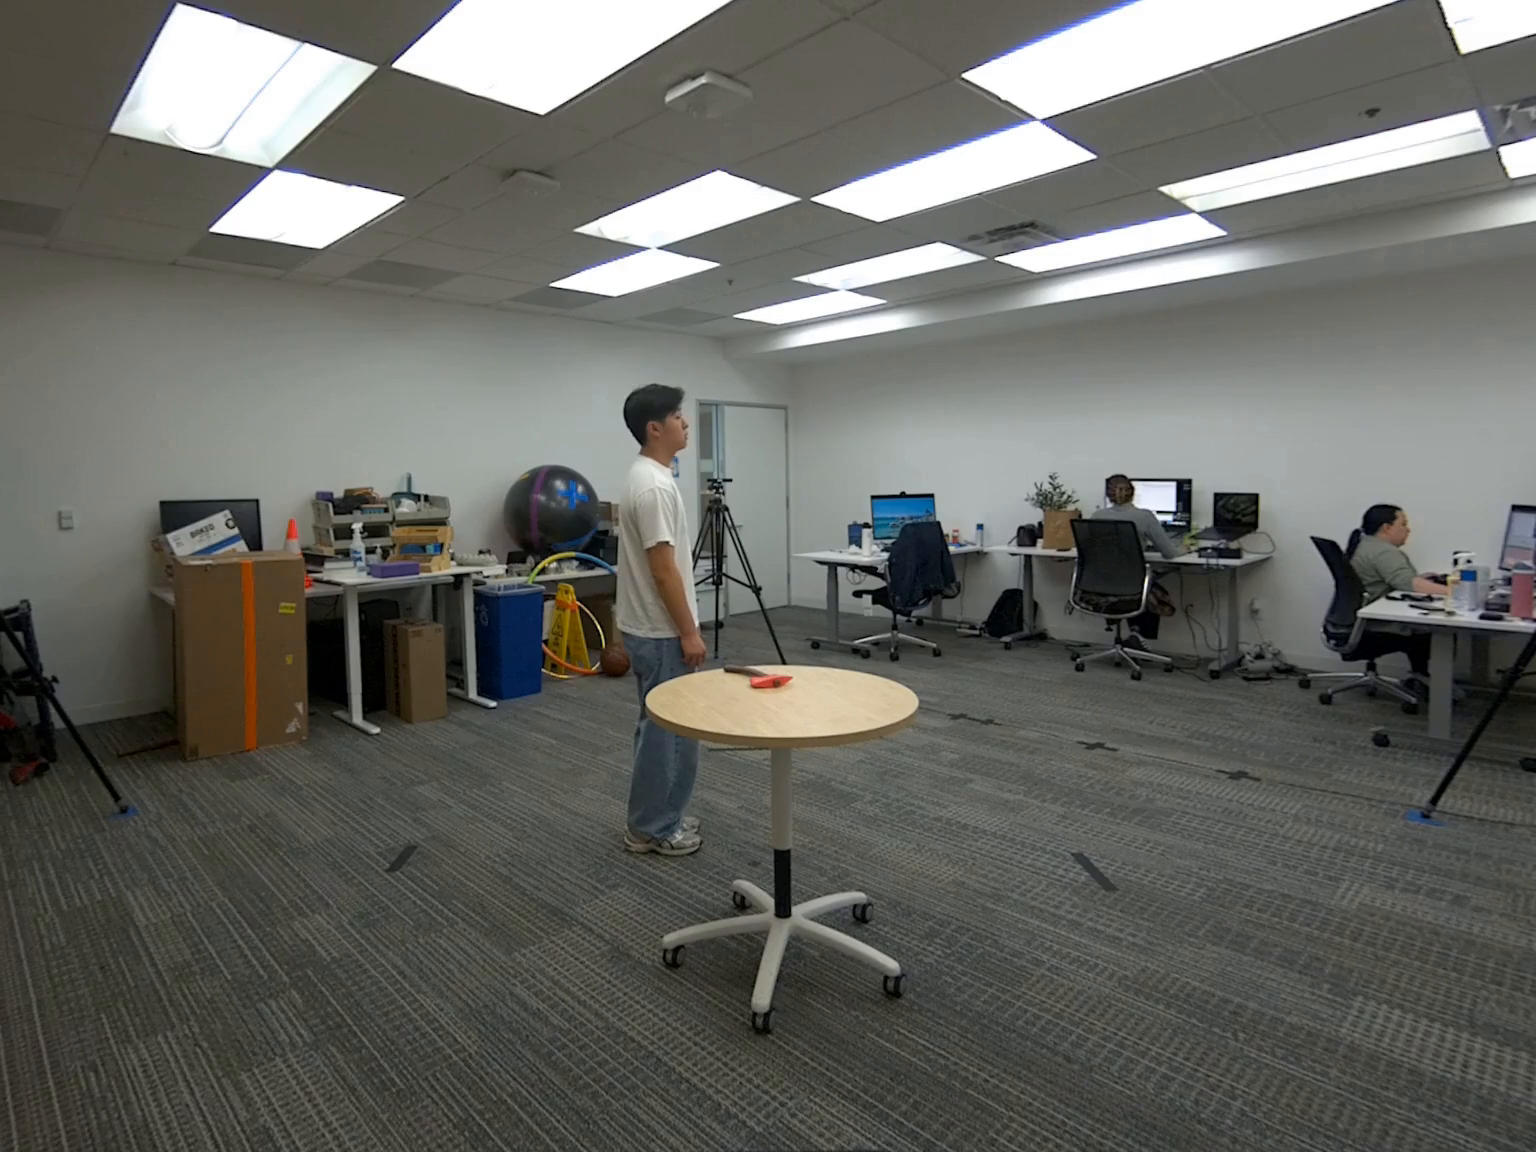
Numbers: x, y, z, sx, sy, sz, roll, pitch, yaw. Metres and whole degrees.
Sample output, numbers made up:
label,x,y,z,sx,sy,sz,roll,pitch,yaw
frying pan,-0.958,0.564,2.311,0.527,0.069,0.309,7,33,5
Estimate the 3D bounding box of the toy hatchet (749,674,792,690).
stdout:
label,x,y,z,sx,sy,sz,roll,pitch,yaw
toy hatchet,-0.055,0.307,2.606,0.128,0.029,0.278,-13,12,-43
